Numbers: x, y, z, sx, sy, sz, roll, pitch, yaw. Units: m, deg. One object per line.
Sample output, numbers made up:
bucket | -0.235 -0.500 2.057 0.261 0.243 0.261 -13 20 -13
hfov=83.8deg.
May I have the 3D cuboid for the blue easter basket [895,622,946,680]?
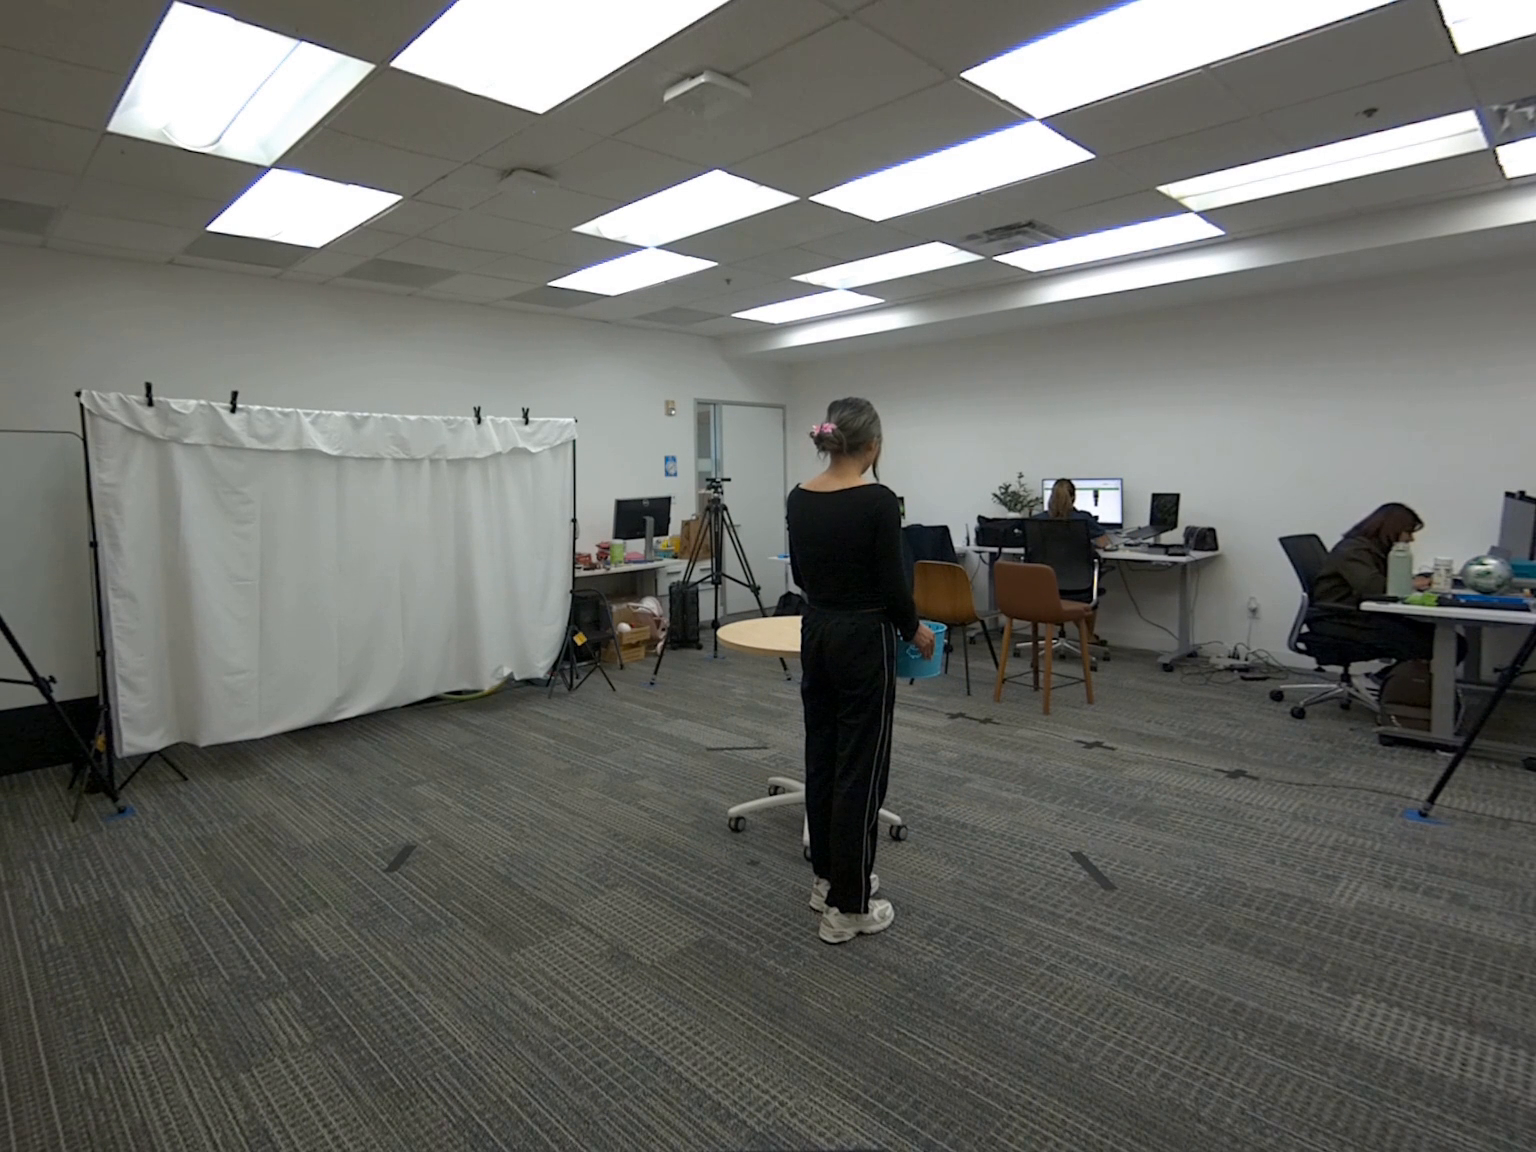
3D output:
blue easter basket | 0.504 0.254 2.870 0.243 0.155 0.245 -1 7 -2
